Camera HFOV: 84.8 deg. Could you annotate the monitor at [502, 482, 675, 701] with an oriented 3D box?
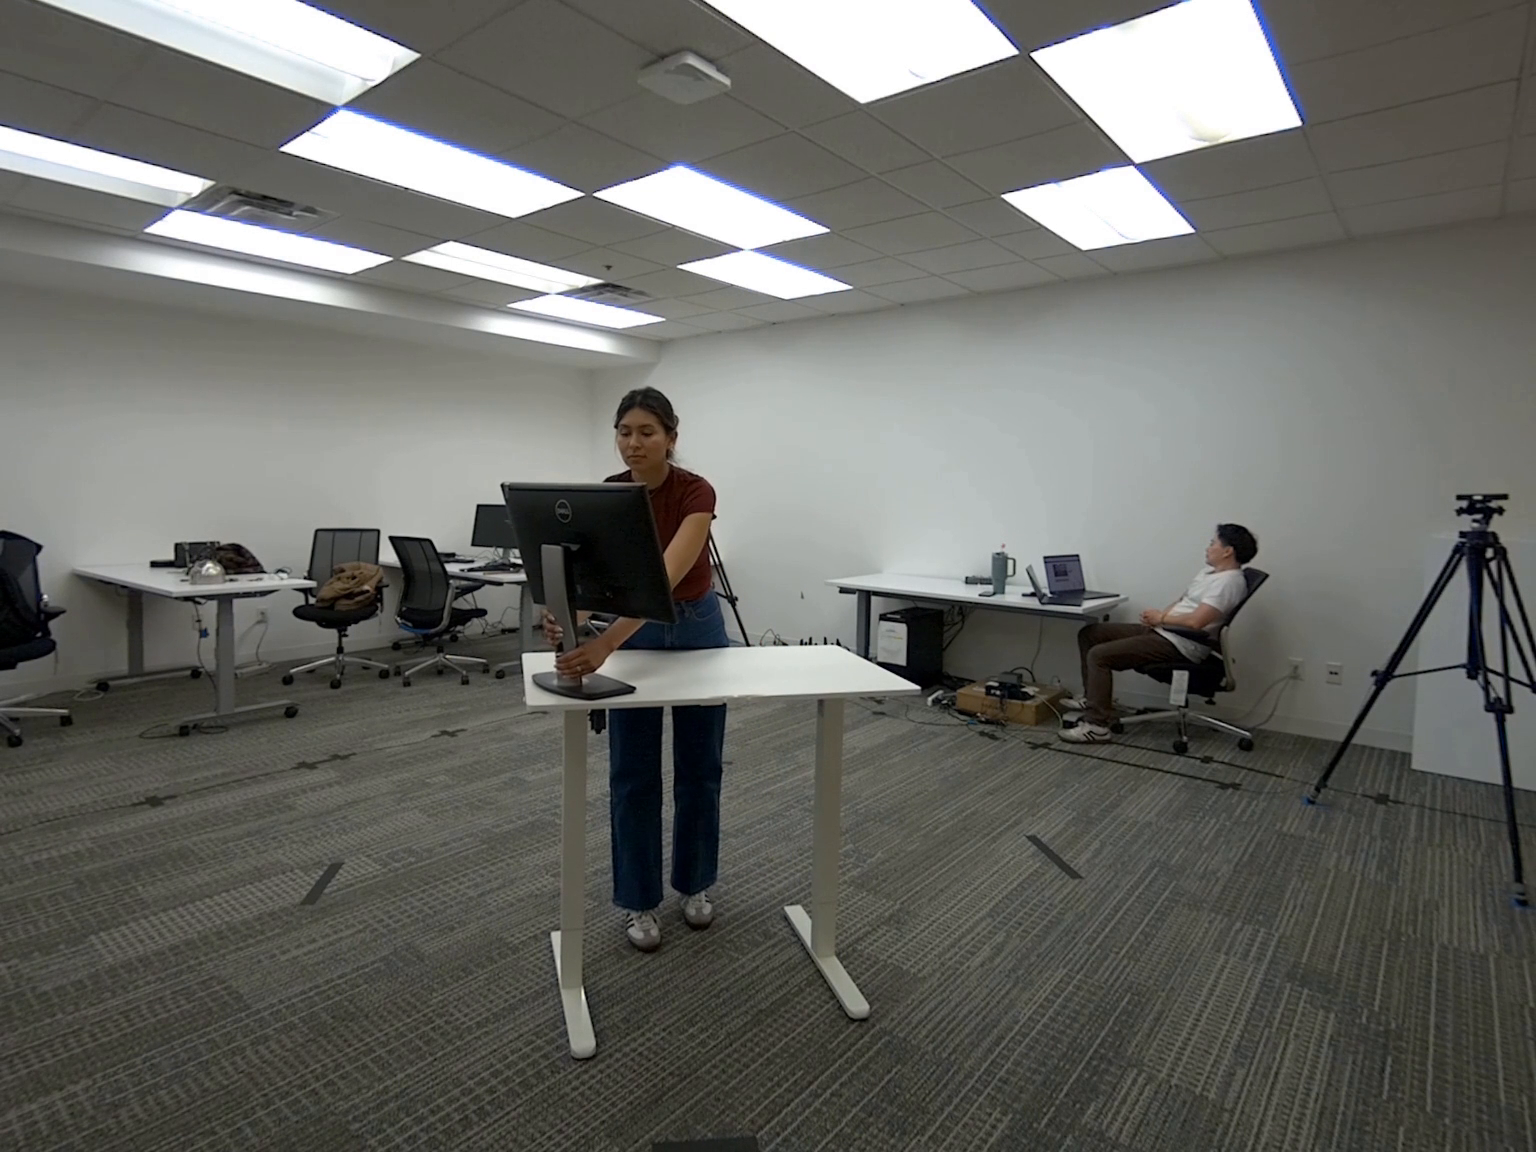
[{"bbox_3d":[-0.483,0.022,2.135,0.557,0.519,0.182,4,9,39],"label":"monitor"}]
